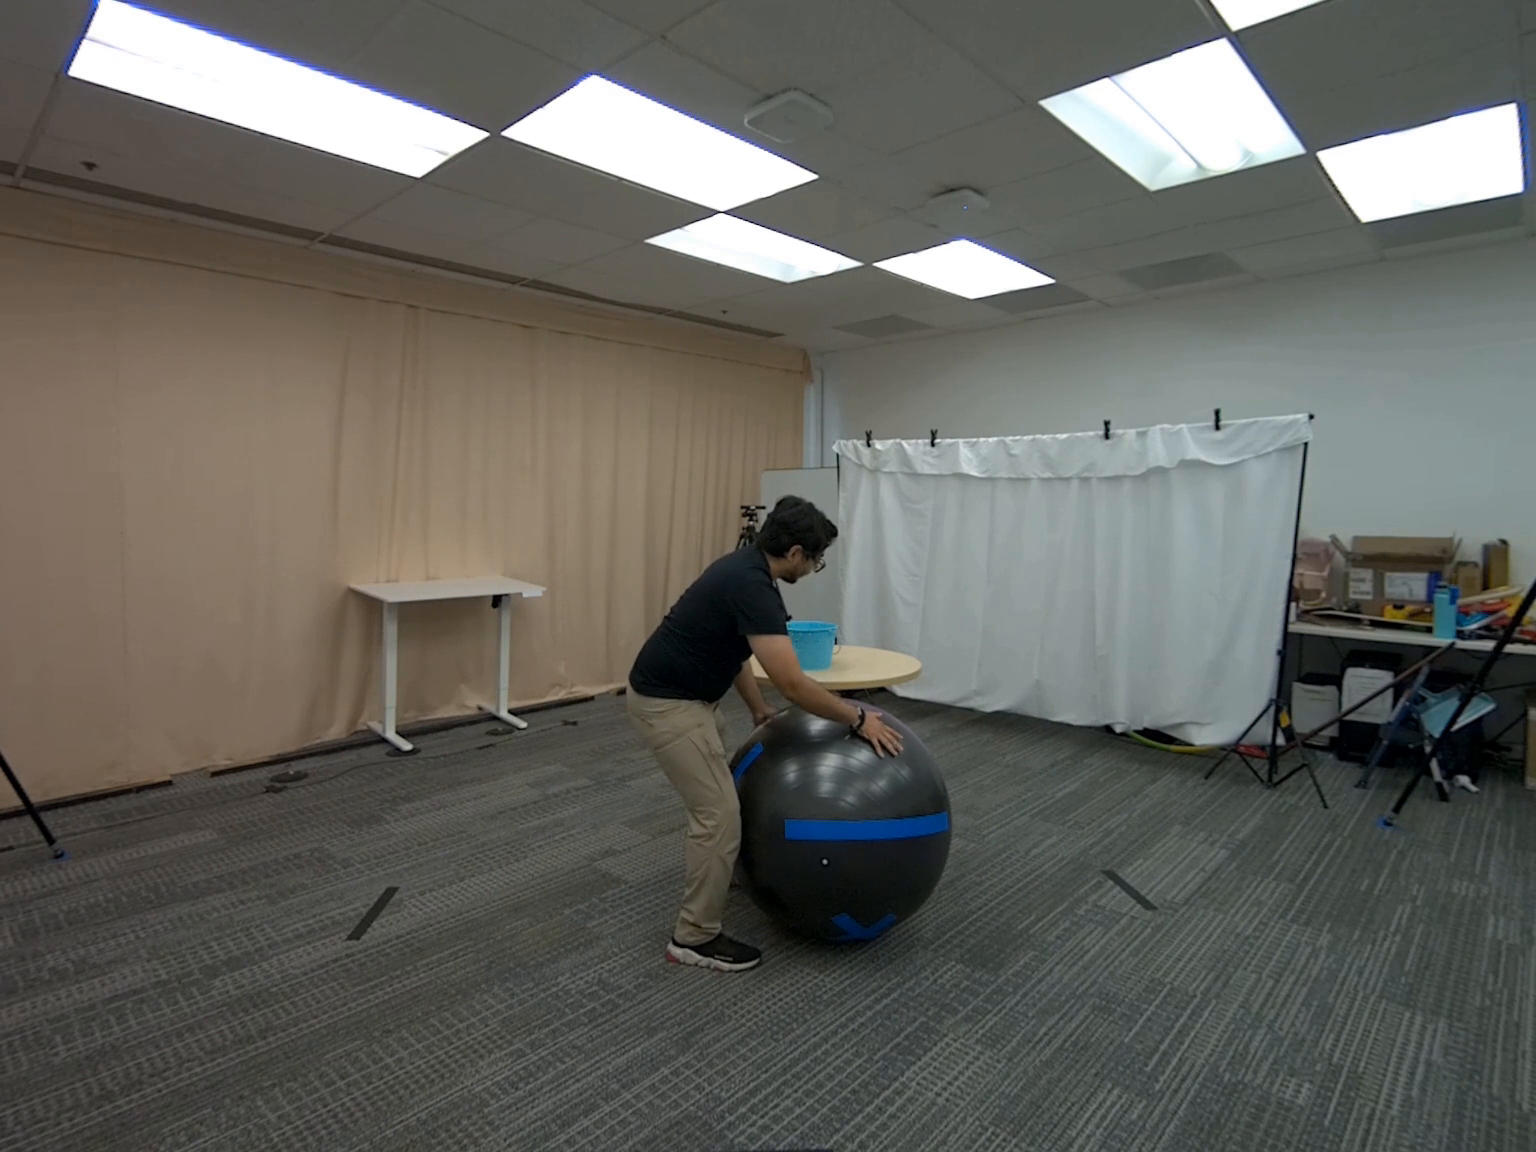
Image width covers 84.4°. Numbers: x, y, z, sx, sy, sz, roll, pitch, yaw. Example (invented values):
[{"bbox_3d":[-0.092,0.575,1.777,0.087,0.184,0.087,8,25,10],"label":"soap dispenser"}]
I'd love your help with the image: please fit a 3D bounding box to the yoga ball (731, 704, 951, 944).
[{"bbox_3d":[0.229,0.796,2.772,0.757,0.756,0.760,0,4,-2],"label":"yoga ball"}]
